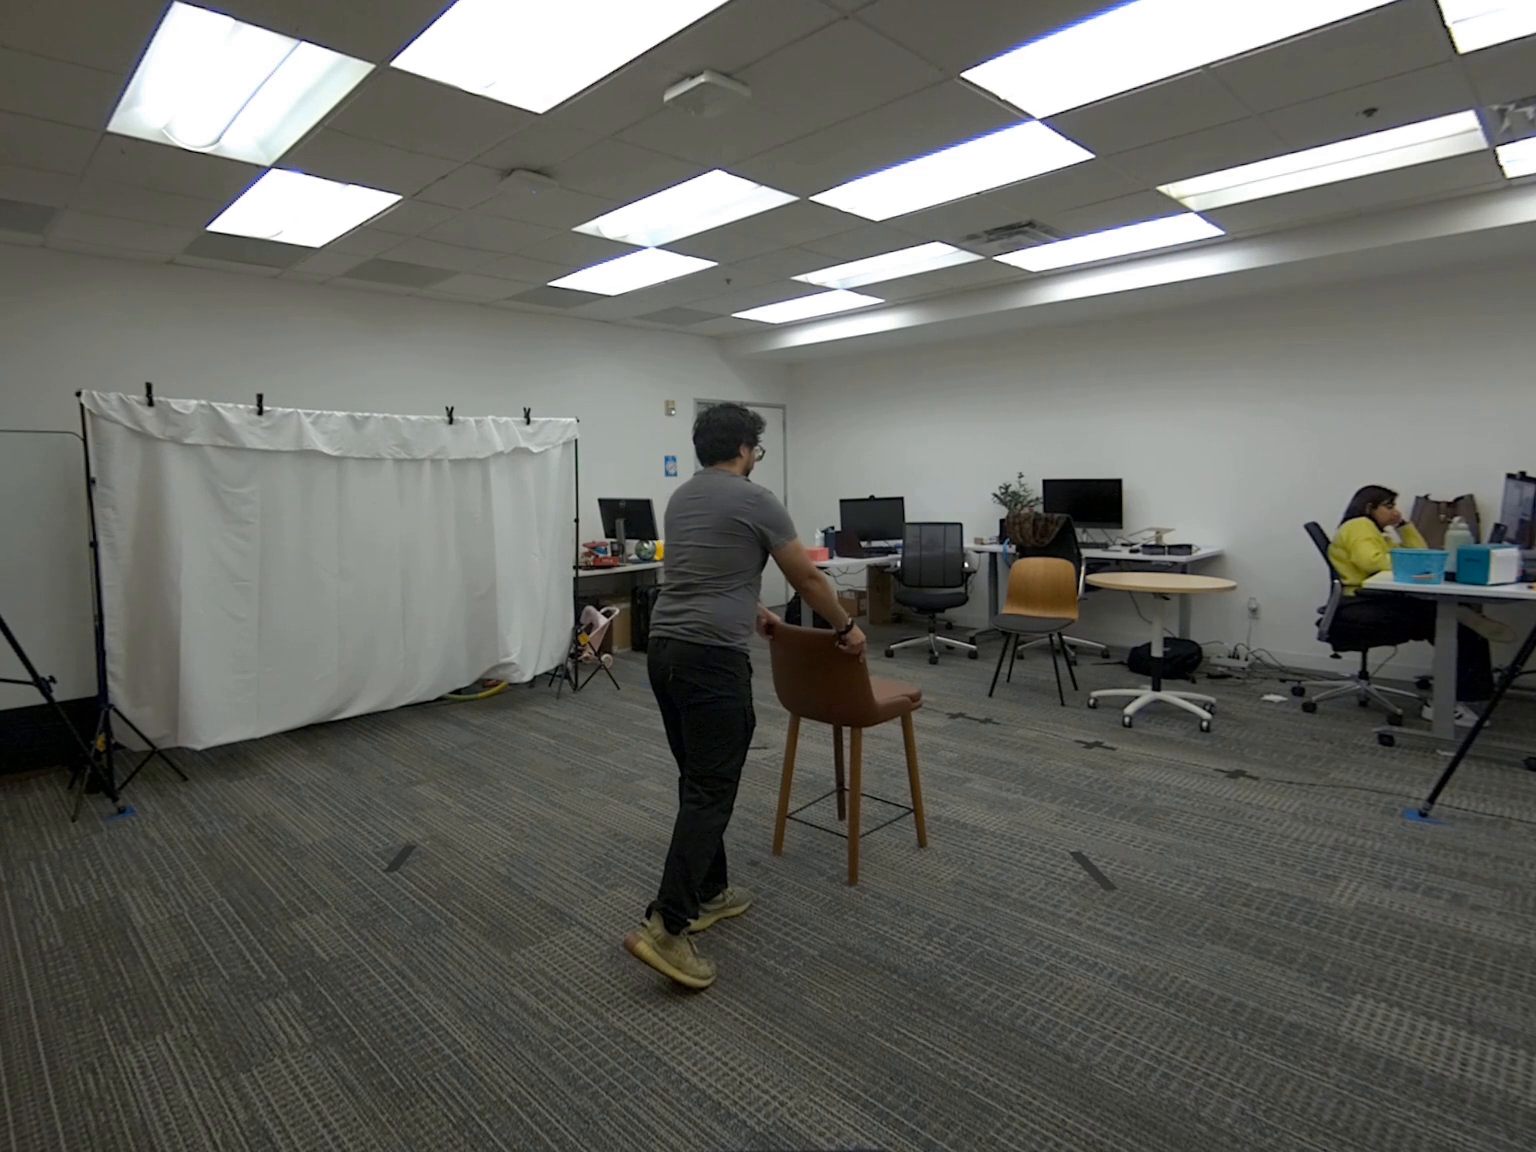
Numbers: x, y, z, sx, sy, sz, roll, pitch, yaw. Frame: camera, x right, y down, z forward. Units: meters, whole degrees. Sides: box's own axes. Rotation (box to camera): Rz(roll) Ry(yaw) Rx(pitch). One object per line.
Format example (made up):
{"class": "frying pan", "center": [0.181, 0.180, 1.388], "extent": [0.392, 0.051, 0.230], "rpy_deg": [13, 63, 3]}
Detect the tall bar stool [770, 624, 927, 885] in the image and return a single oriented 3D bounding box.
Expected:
{"class": "tall bar stool", "center": [0.290, 0.591, 3.173], "extent": [0.470, 0.885, 0.456], "rpy_deg": [3, 8, 44]}
